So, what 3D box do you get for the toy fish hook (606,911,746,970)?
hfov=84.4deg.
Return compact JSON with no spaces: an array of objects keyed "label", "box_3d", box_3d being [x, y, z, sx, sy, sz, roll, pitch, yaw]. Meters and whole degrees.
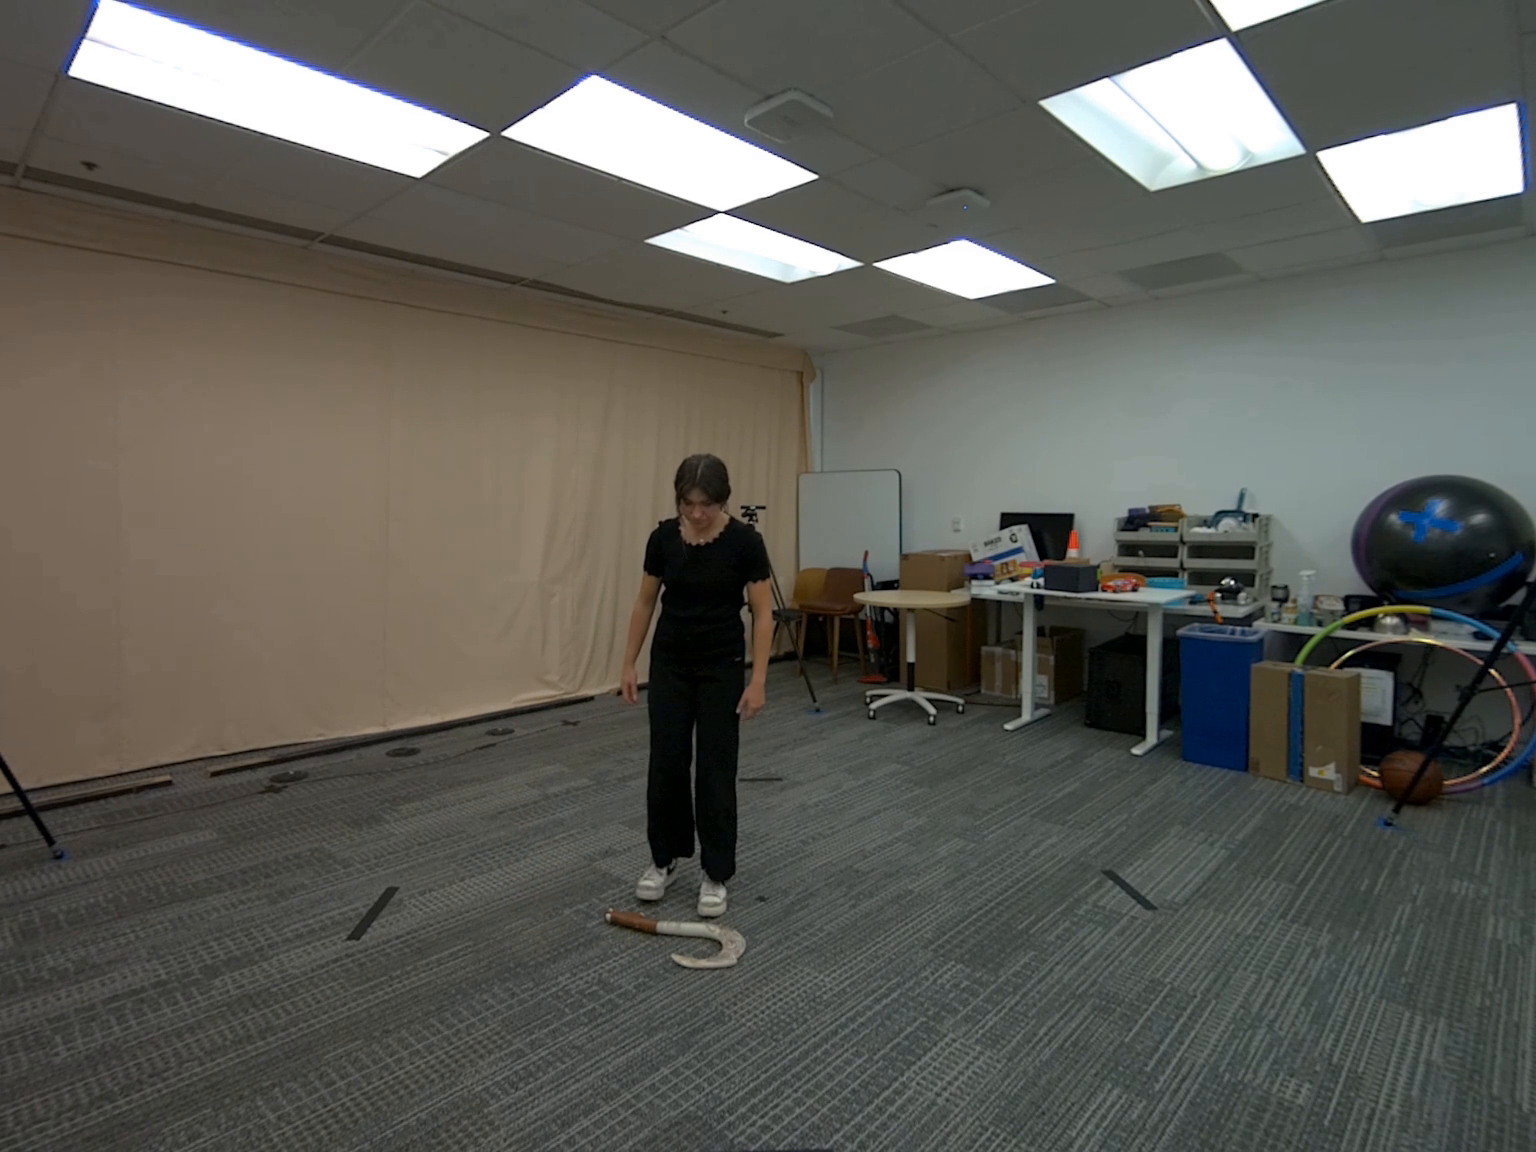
[{"label":"toy fish hook","box_3d":[-0.321,1.146,2.677,0.518,0.048,0.220,1,3,22]}]
